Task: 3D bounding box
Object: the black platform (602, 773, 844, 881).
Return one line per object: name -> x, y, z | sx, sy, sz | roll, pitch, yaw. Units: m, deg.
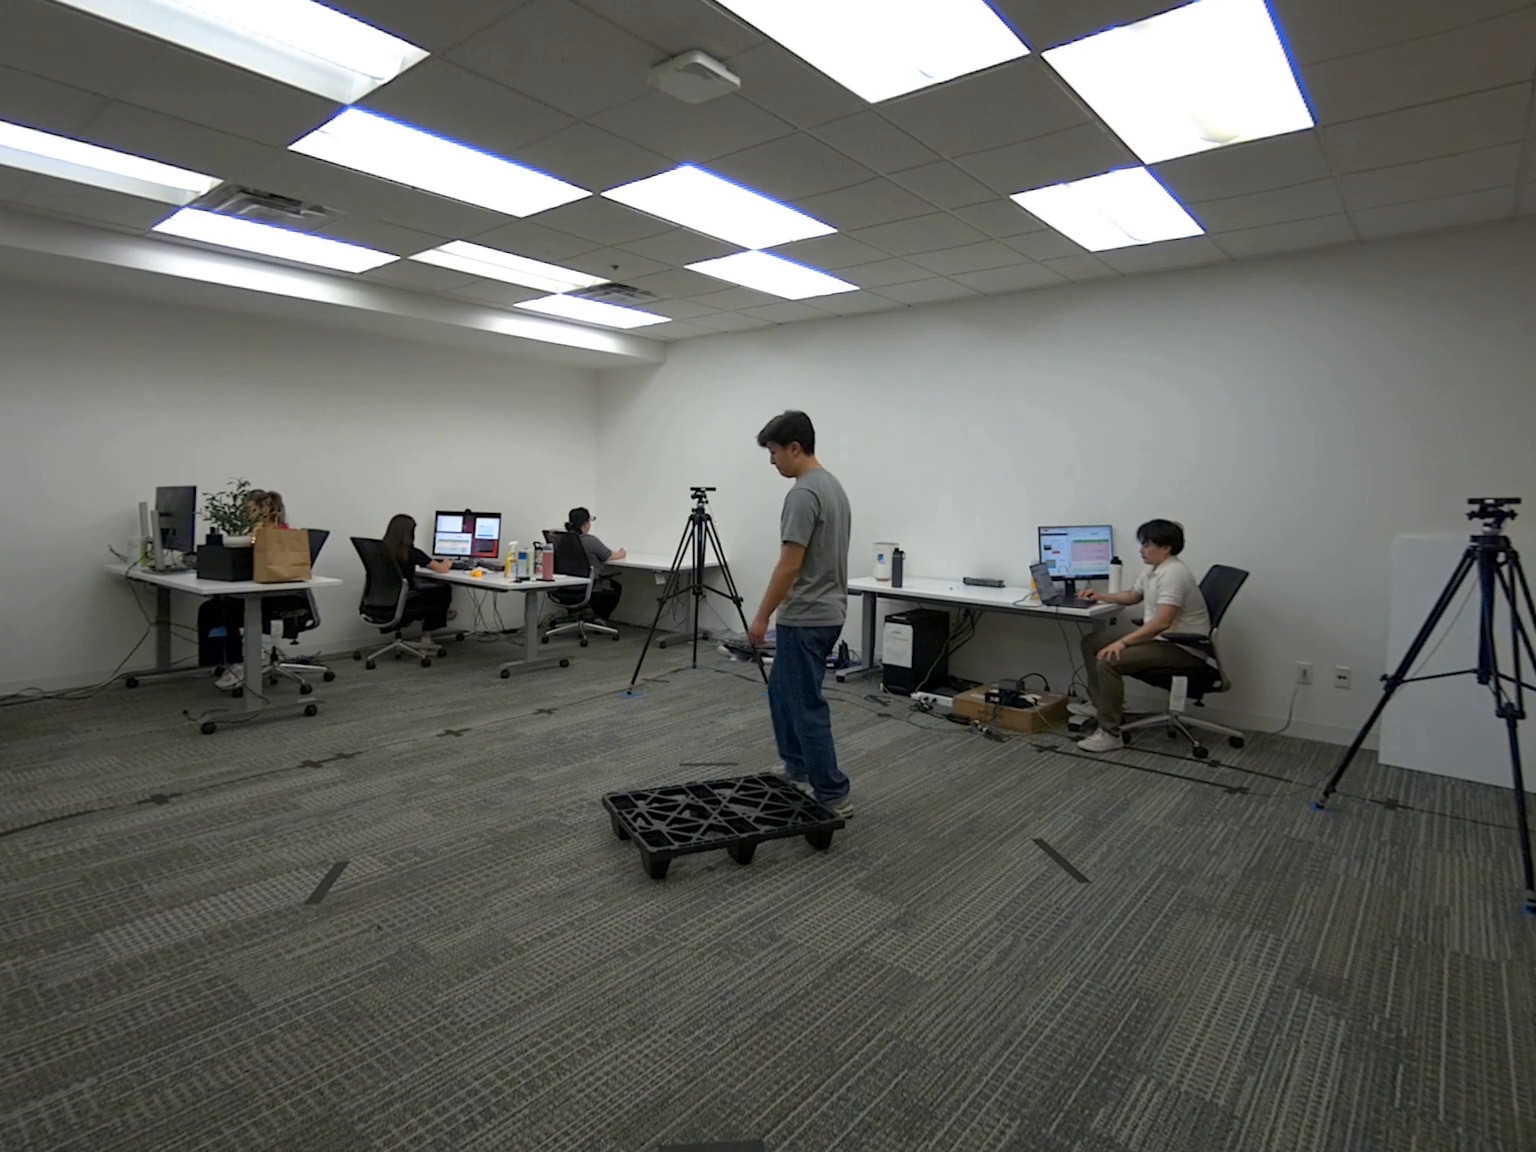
black platform -> -0.197, 0.975, 3.358 | 0.786, 0.143, 0.623 | -2, 7, -26
